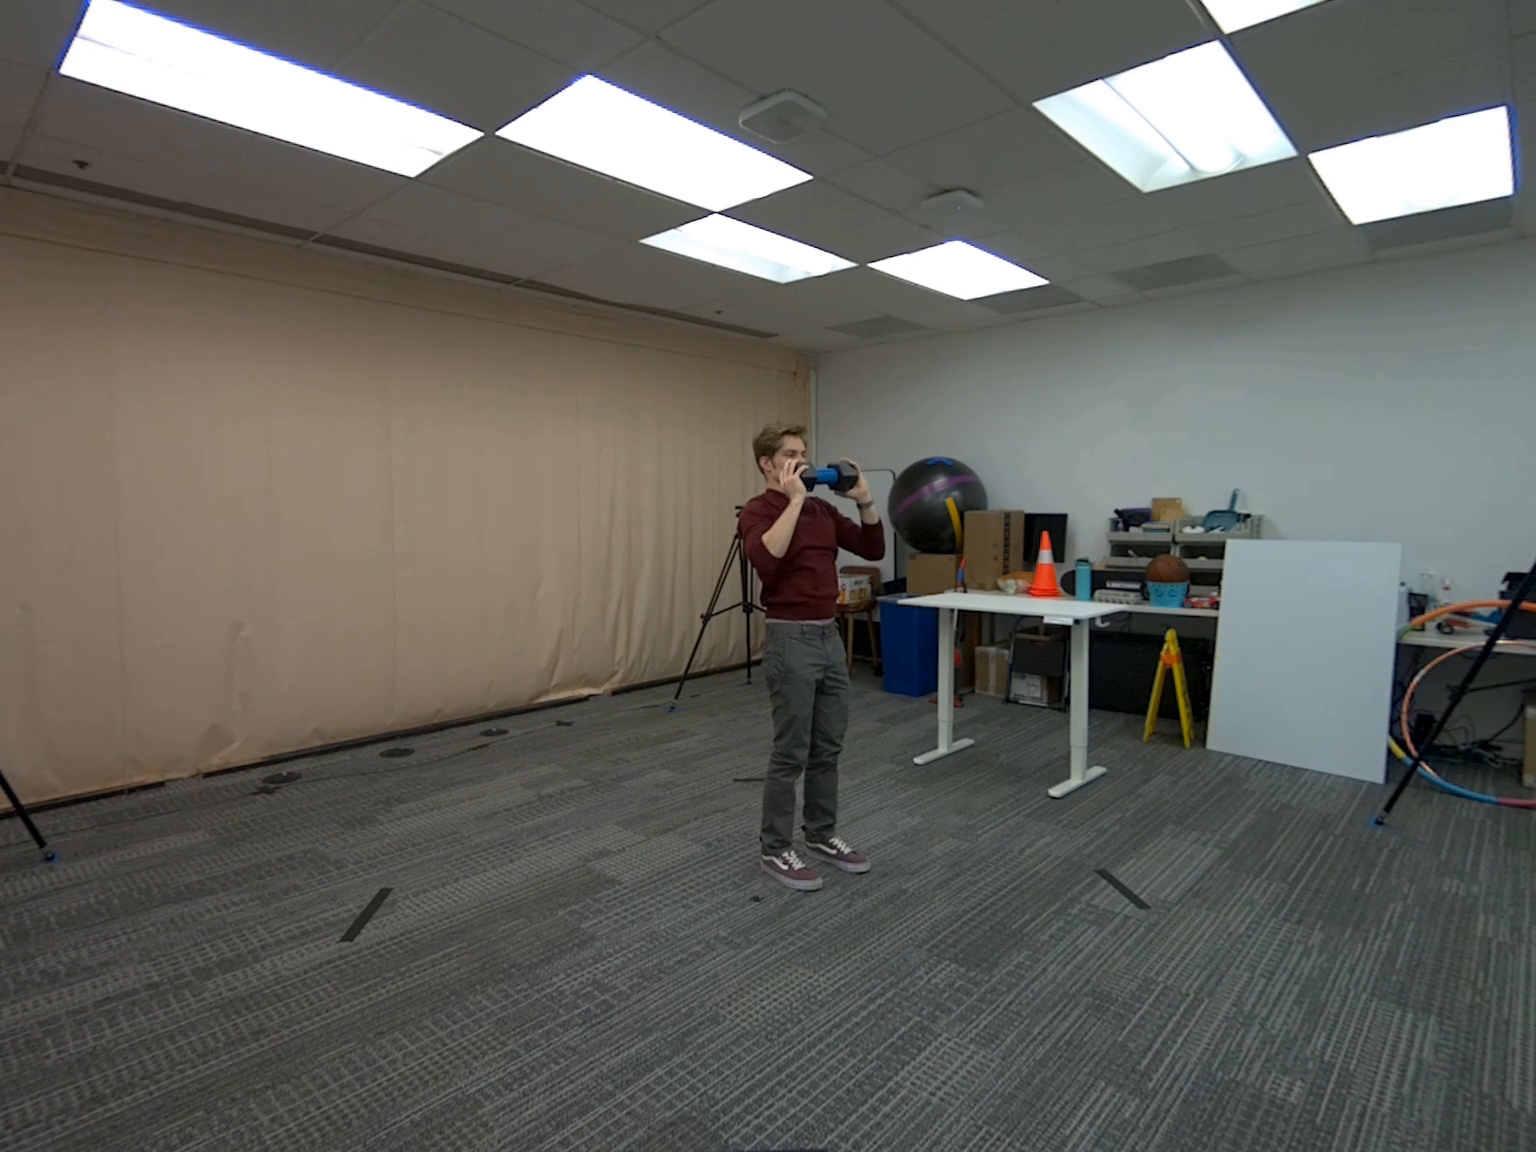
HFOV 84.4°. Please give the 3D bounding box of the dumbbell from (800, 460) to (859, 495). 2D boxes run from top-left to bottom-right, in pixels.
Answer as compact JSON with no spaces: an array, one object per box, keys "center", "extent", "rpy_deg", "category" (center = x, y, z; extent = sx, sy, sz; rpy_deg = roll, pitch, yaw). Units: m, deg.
[{"center":[0.201,-0.361,3.077],"extent":[0.285,0.125,0.110],"rpy_deg":[-10,-23,-40],"category":"dumbbell"}]
